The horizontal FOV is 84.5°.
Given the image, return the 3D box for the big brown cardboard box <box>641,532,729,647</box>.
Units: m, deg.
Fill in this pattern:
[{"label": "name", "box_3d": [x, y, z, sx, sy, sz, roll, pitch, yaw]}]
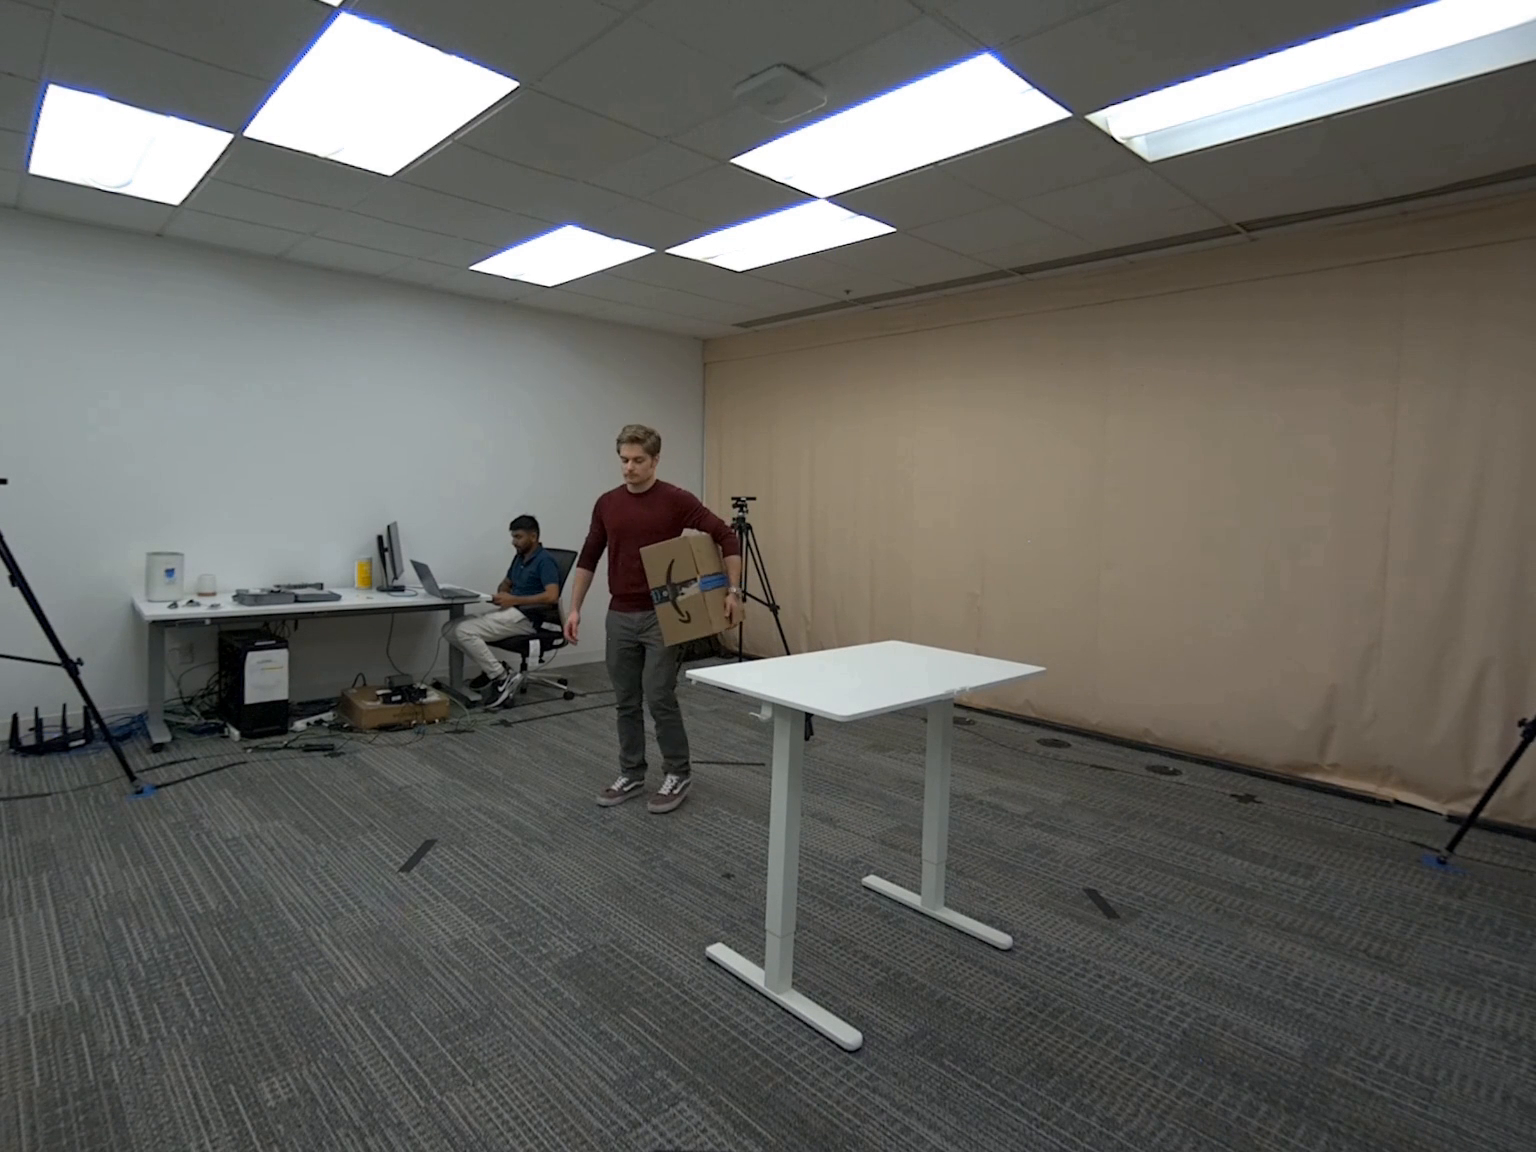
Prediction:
[{"label": "big brown cardboard box", "box_3d": [-0.318, 0.043, 3.671, 0.235, 0.418, 0.583, -15, 0, 13]}]
